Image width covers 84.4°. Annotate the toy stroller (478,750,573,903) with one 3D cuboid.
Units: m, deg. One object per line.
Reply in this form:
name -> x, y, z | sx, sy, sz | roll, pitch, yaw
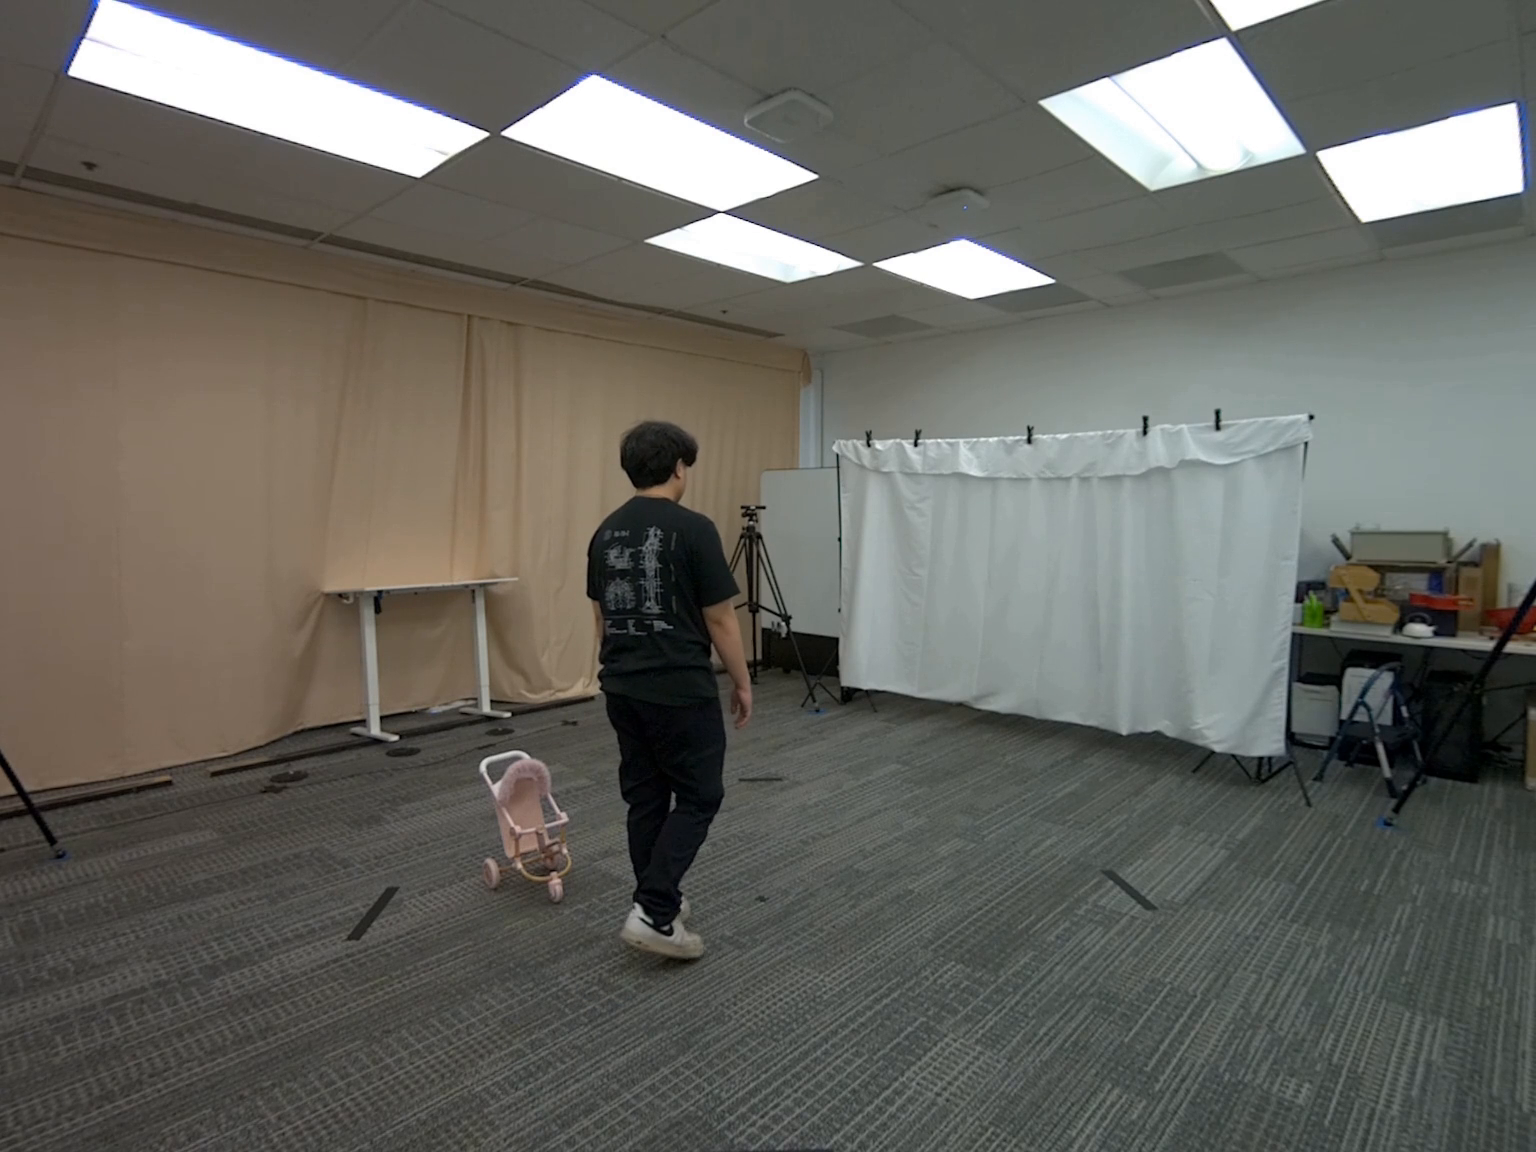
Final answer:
toy stroller -> -0.887, 0.919, 3.104 | 0.273, 0.539, 0.349 | -3, -11, -39
